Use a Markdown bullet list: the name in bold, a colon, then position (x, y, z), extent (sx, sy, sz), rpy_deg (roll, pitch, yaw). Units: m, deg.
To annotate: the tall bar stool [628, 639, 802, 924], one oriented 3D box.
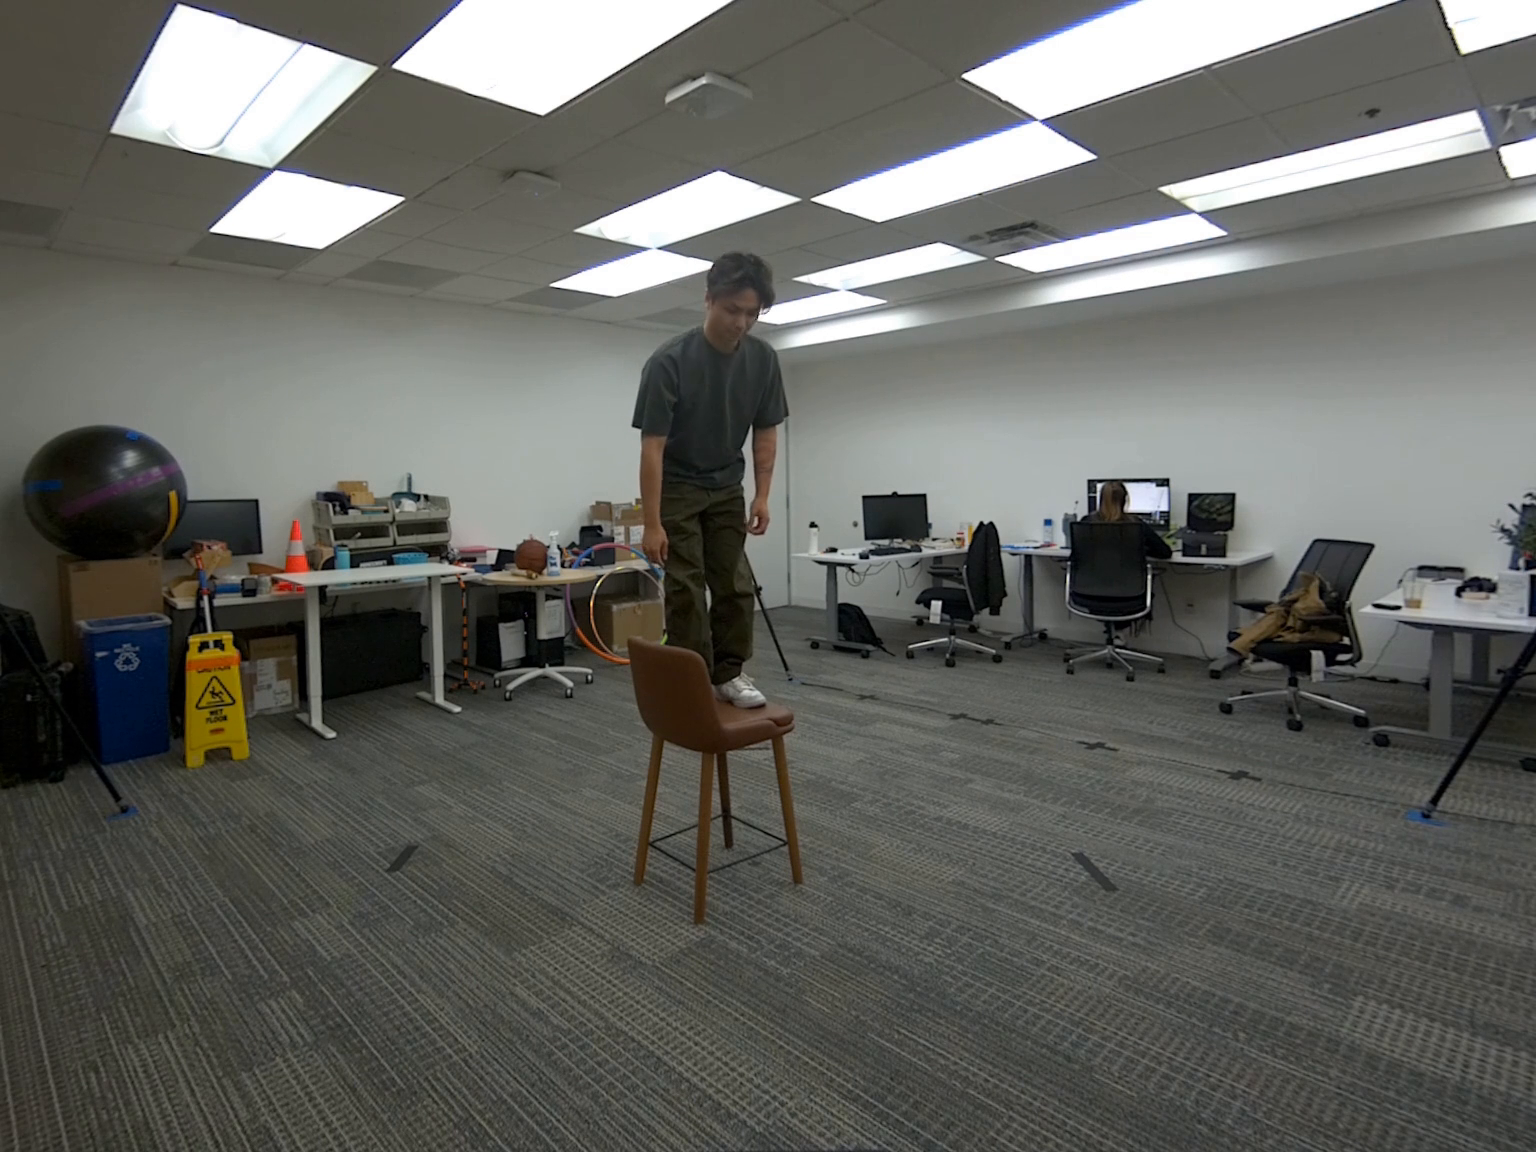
- **tall bar stool**: position (-0.187, 0.631, 2.935), extent (0.456, 0.885, 0.470), rpy_deg (-7, 7, -40)
